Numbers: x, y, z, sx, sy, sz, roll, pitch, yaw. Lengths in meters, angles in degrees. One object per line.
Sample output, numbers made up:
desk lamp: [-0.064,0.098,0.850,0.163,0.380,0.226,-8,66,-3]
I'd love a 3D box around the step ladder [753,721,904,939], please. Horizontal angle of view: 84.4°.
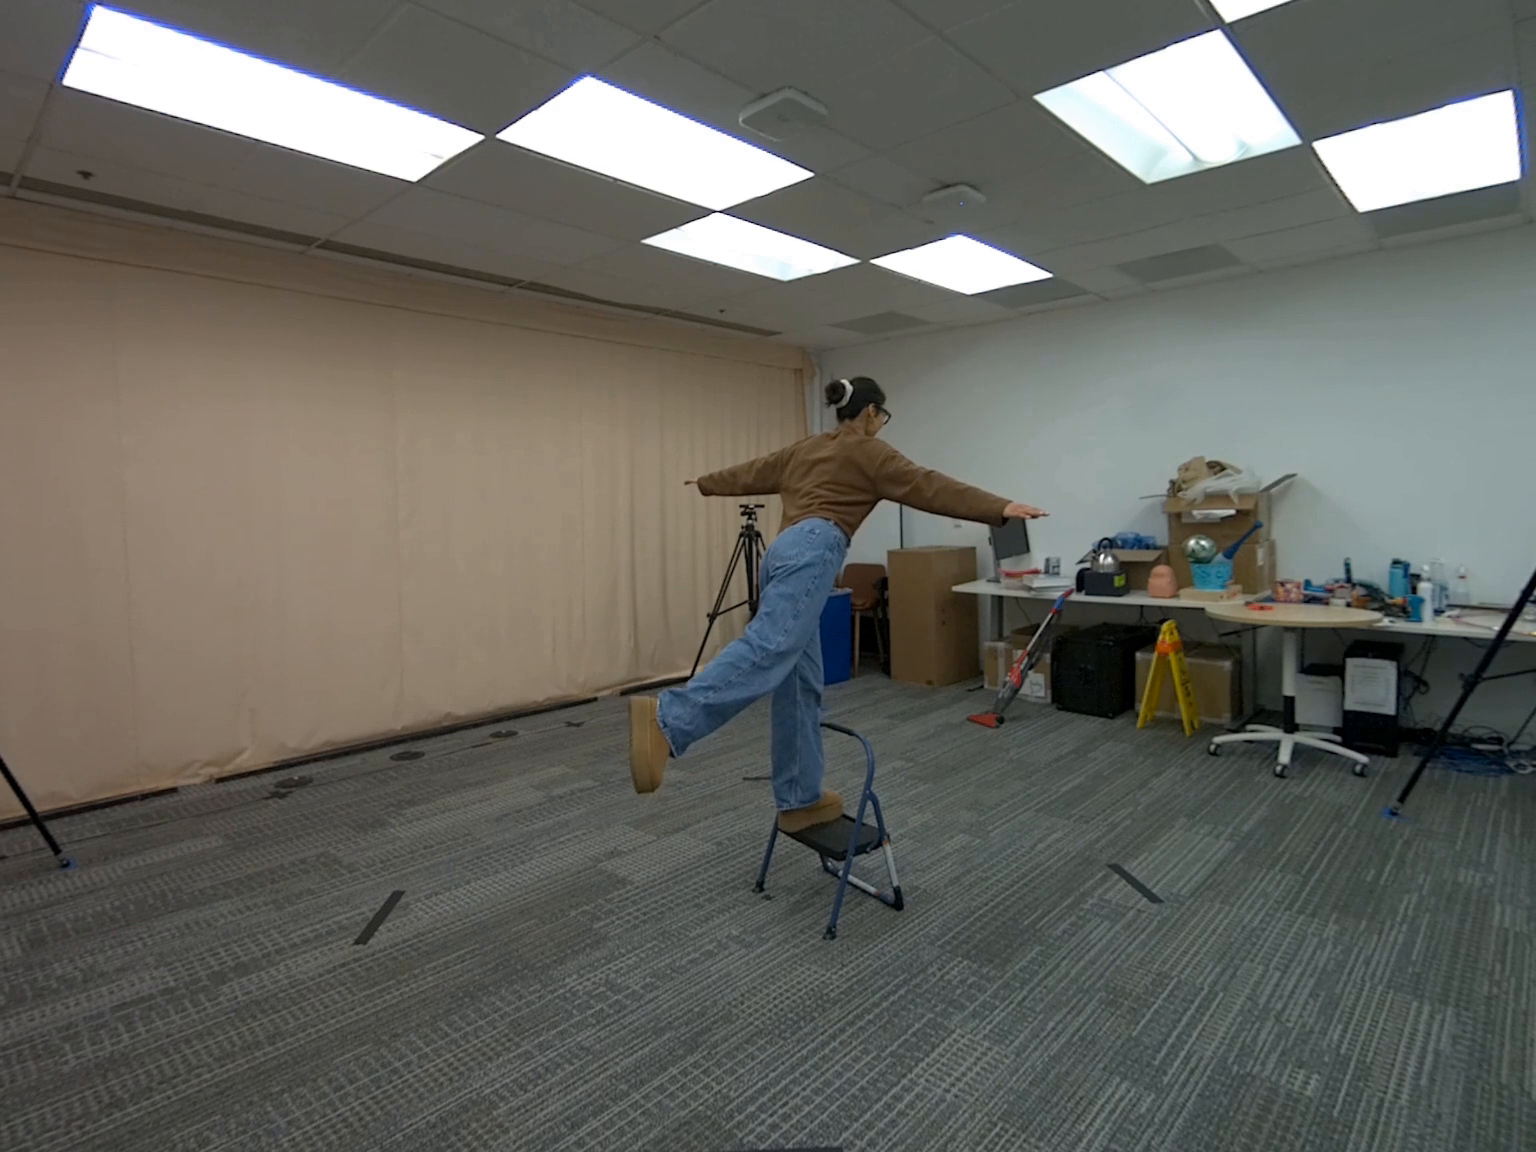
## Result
step ladder: [0.209,0.837,2.938,0.339,0.605,0.444,-3,4,-36]
